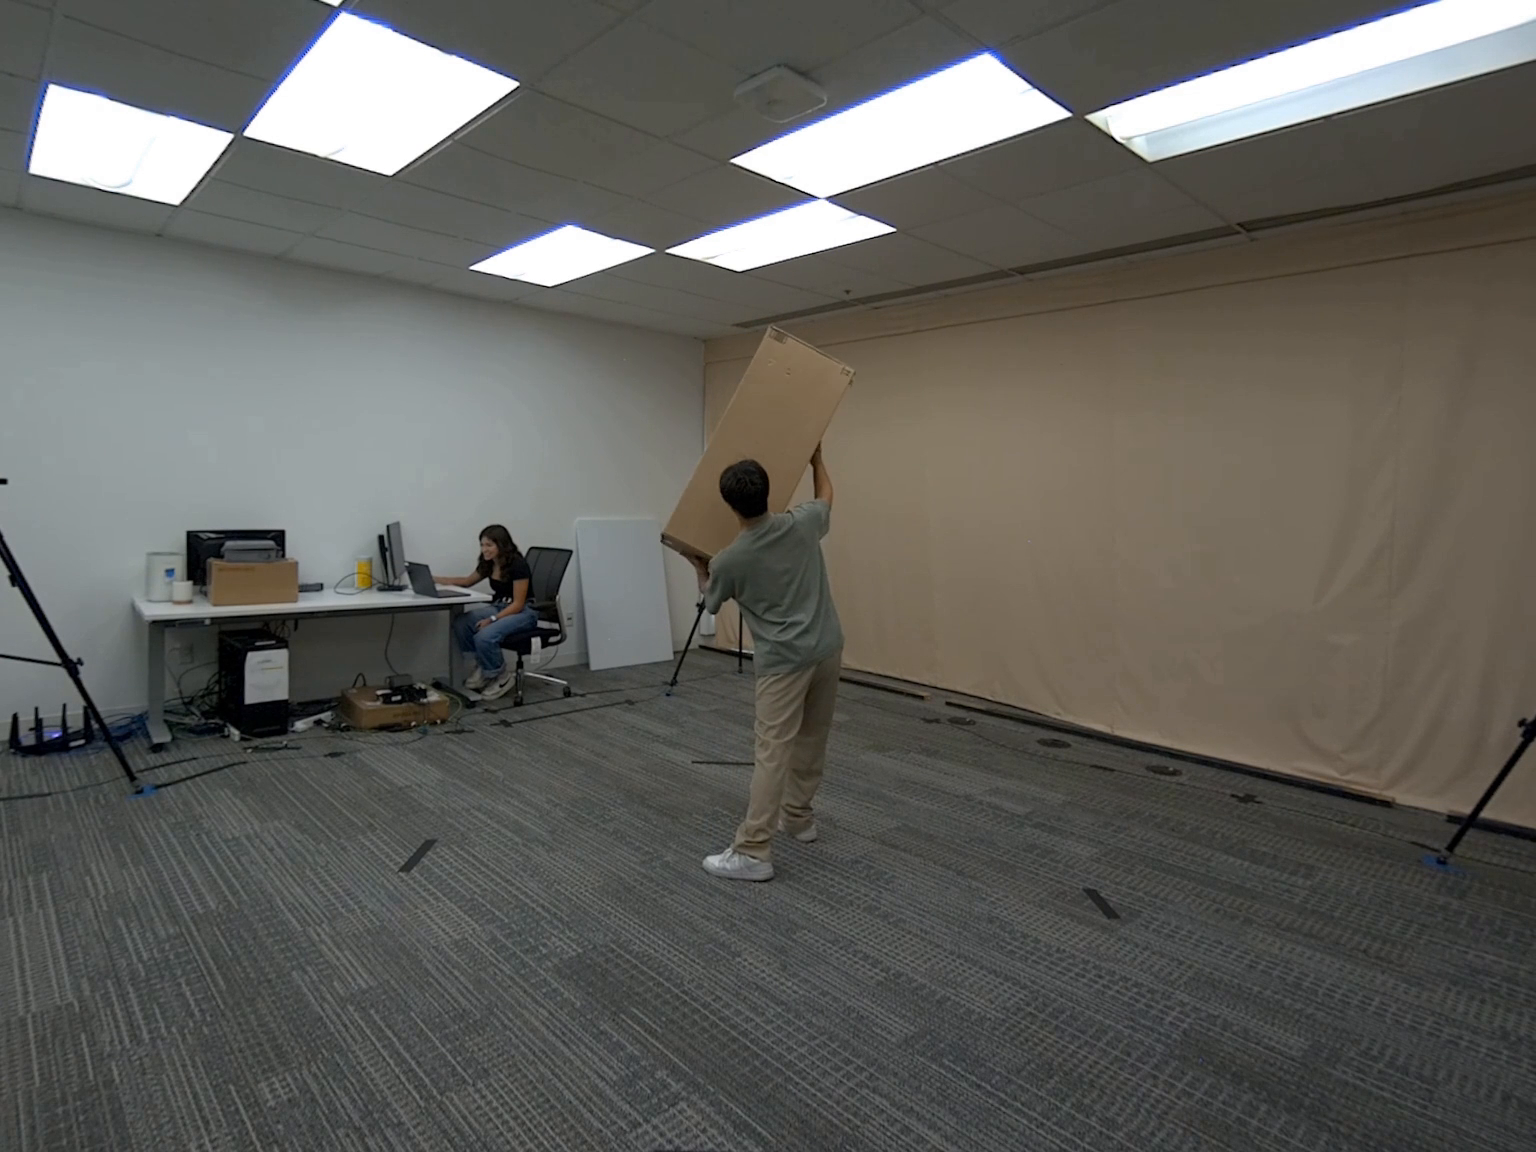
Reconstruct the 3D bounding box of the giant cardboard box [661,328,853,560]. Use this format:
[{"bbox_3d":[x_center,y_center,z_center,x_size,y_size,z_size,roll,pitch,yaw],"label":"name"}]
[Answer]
[{"bbox_3d":[-0.090,-0.520,3.862,0.424,1.028,0.579,27,-7,-5],"label":"giant cardboard box"}]
